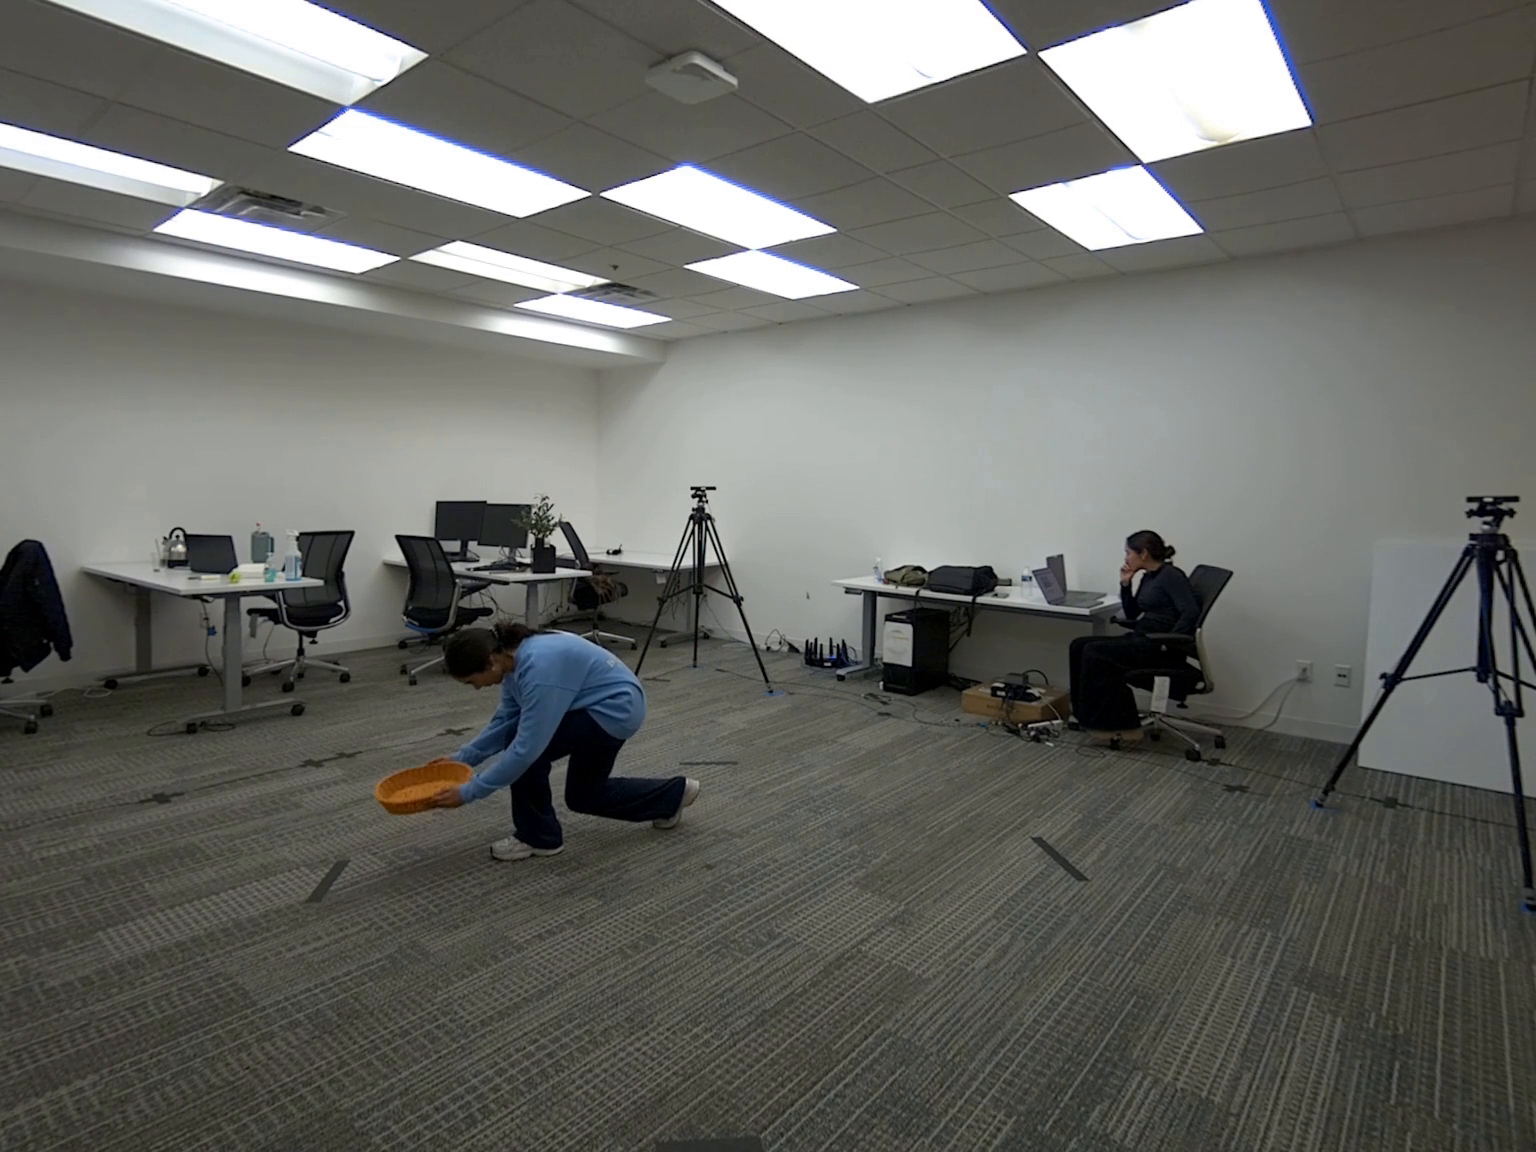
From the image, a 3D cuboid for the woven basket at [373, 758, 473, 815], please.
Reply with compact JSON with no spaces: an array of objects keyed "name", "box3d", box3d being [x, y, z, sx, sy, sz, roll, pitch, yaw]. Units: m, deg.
[{"name":"woven basket","box3d":[-1.263,0.773,3.101,0.346,0.072,0.259,-8,18,-12]}]
